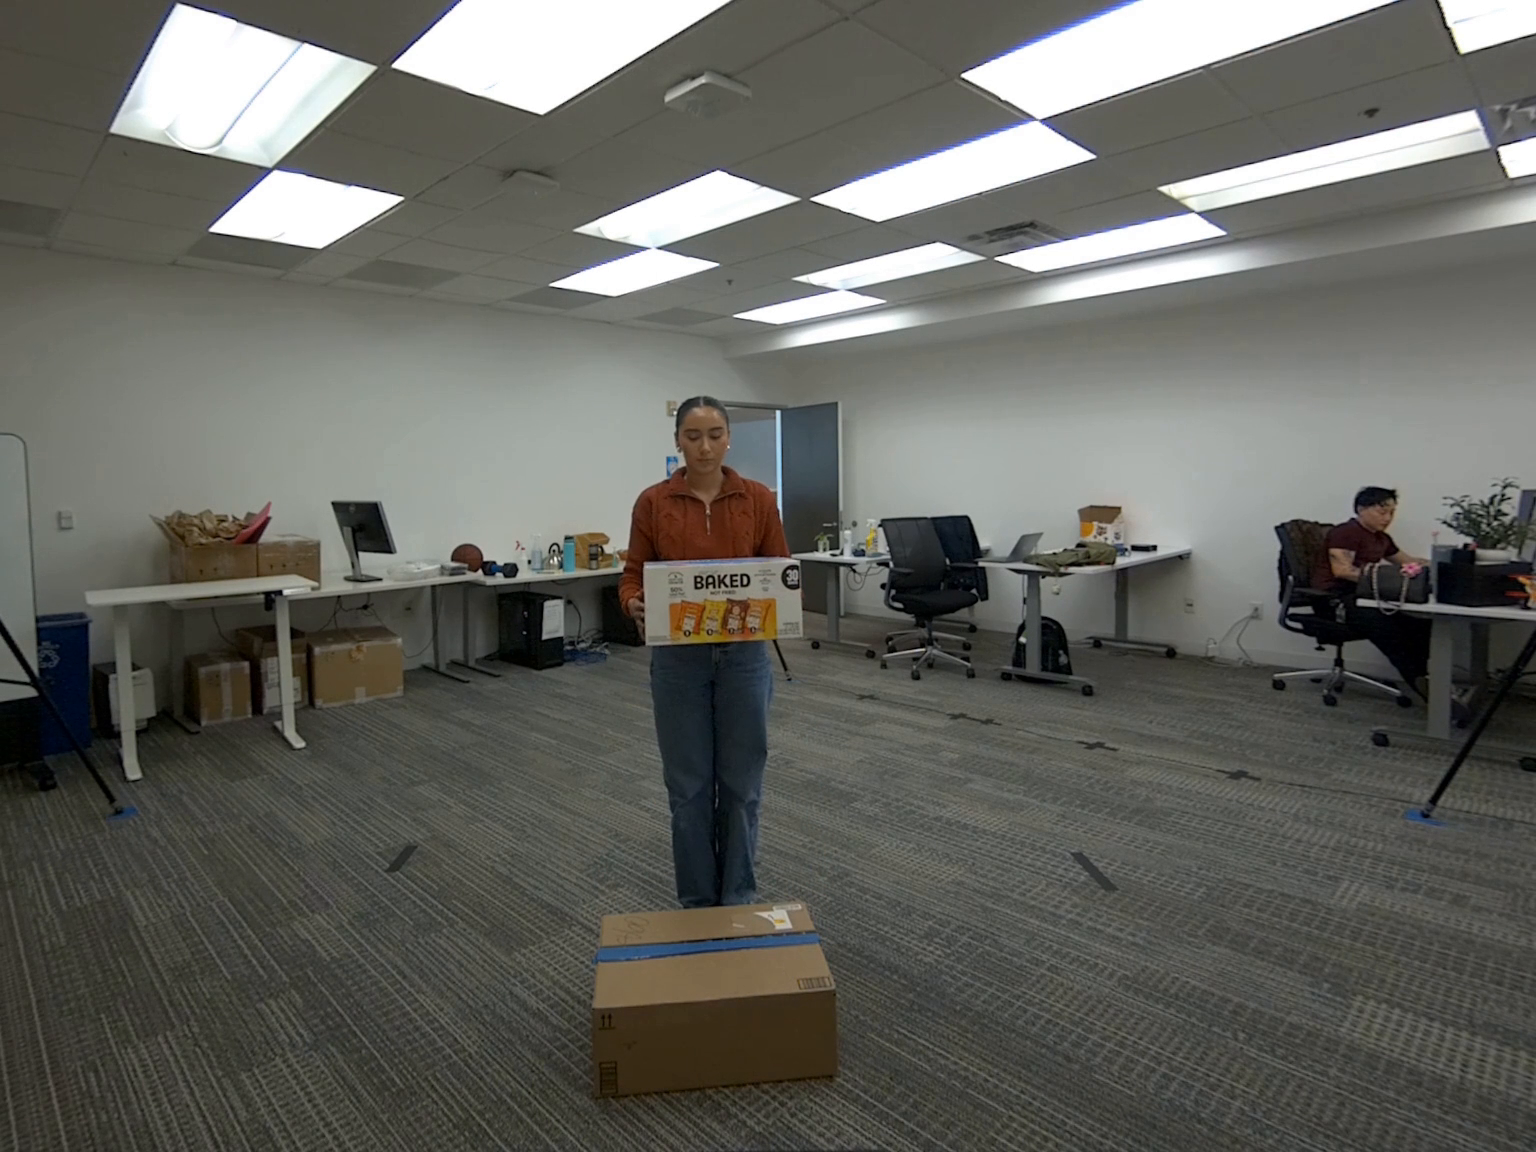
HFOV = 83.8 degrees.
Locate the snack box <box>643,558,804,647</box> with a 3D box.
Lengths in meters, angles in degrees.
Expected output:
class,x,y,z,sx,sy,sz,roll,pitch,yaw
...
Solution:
class,x,y,z,sx,sy,sz,roll,pitch,yaw
snack box,-0.140,0.066,2.356,0.403,0.205,0.343,-2,3,-7
